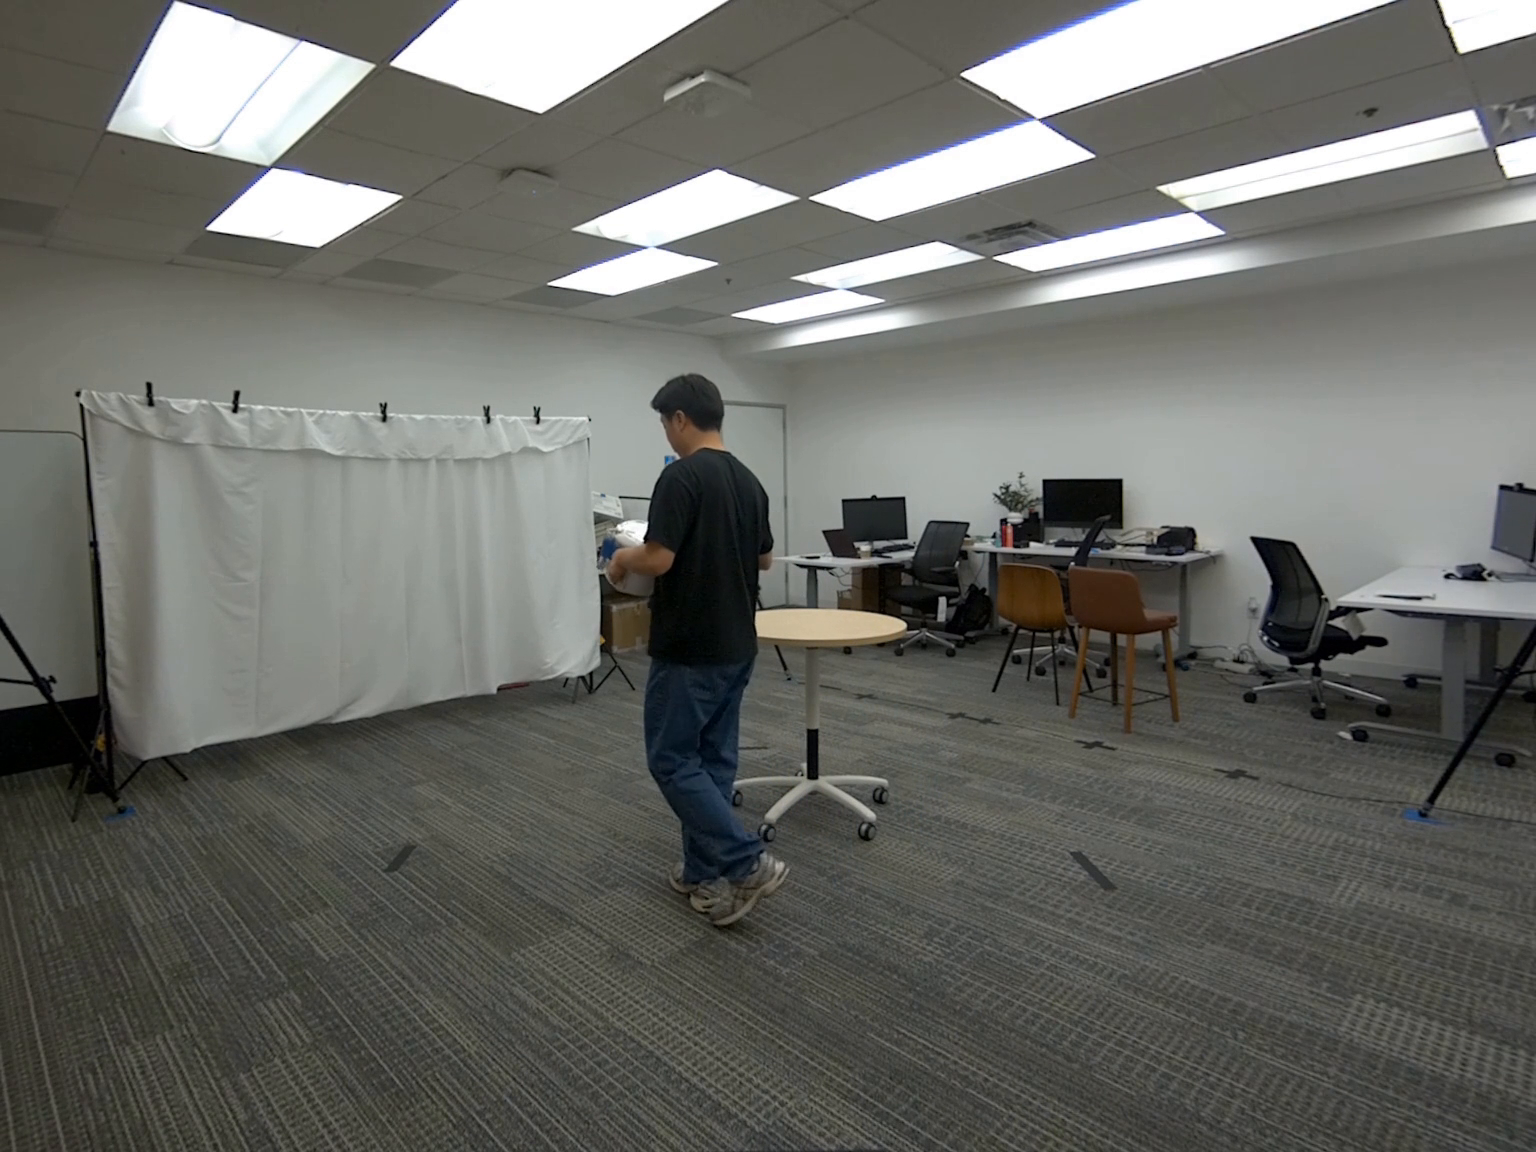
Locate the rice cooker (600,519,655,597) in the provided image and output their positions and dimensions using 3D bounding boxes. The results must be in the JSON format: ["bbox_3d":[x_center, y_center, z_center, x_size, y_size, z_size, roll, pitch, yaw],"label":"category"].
[{"bbox_3d":[-0.435,-0.052,2.940,0.223,0.230,0.218,27,27,21],"label":"rice cooker"}]
